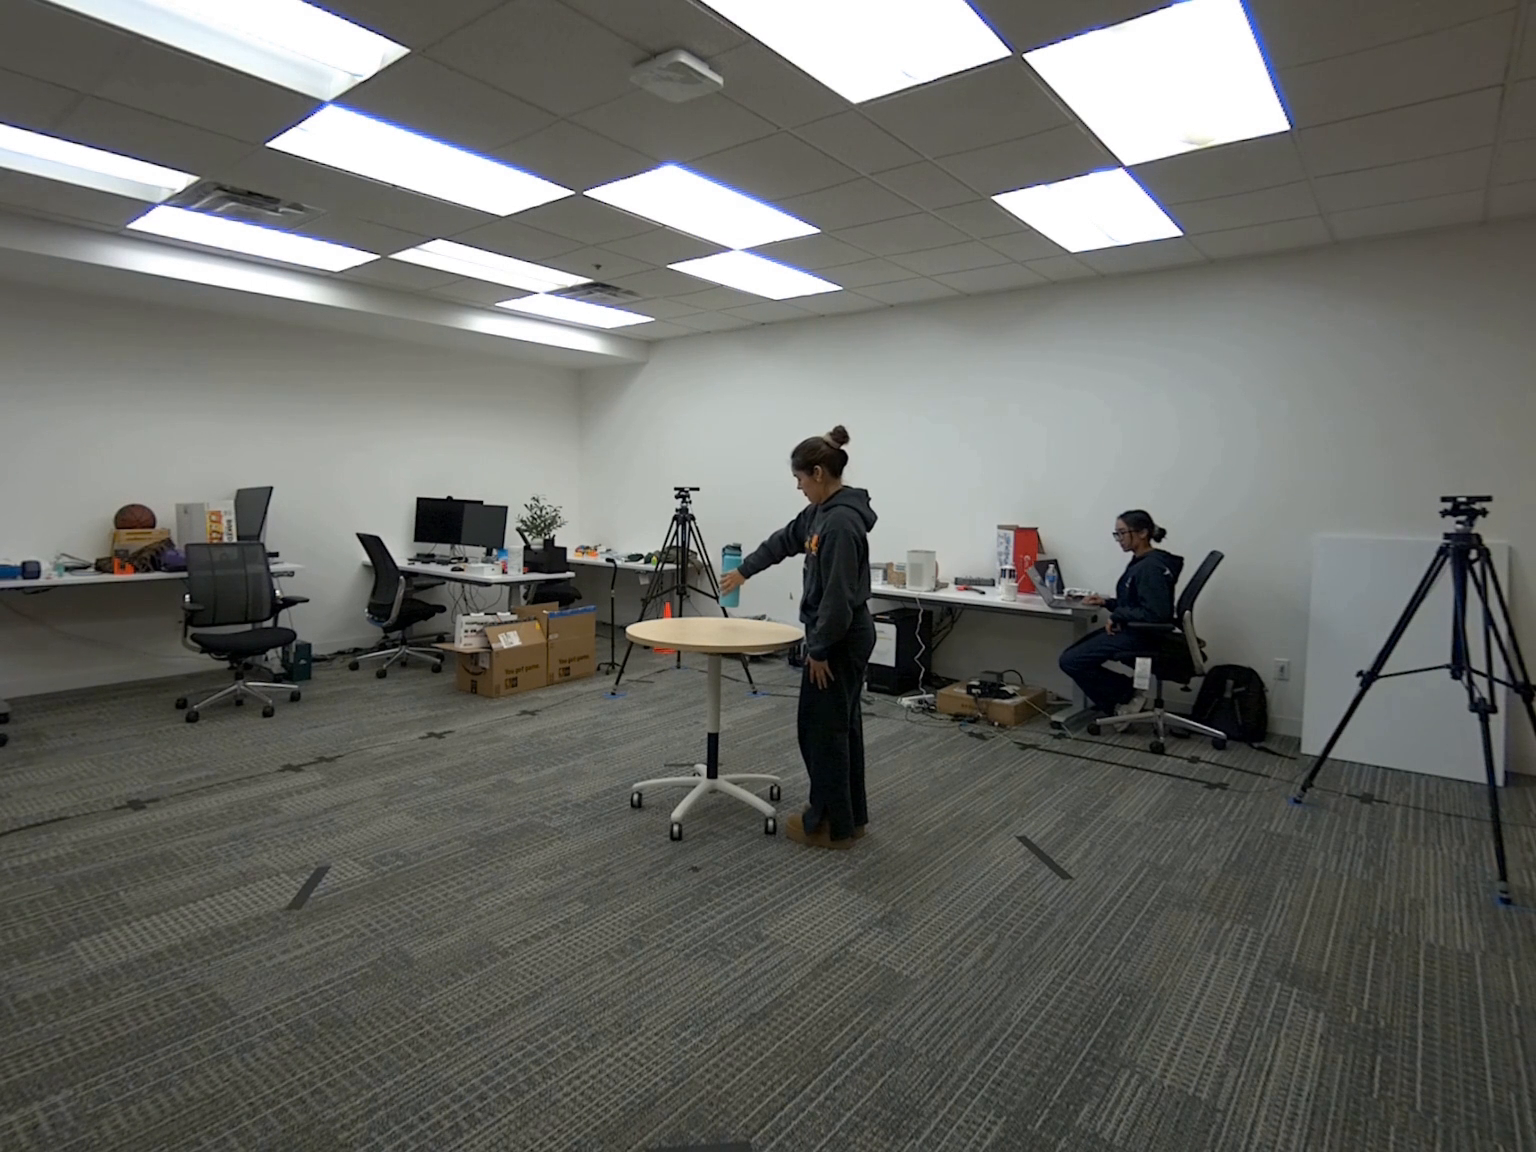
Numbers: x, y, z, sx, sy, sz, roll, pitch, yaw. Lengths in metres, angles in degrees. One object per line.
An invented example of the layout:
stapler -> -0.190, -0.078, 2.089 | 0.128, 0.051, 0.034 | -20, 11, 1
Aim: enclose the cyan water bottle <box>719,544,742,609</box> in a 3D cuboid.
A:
cyan water bottle -> -0.169, -0.013, 3.776 | 0.092, 0.283, 0.093 | 4, 3, -2
